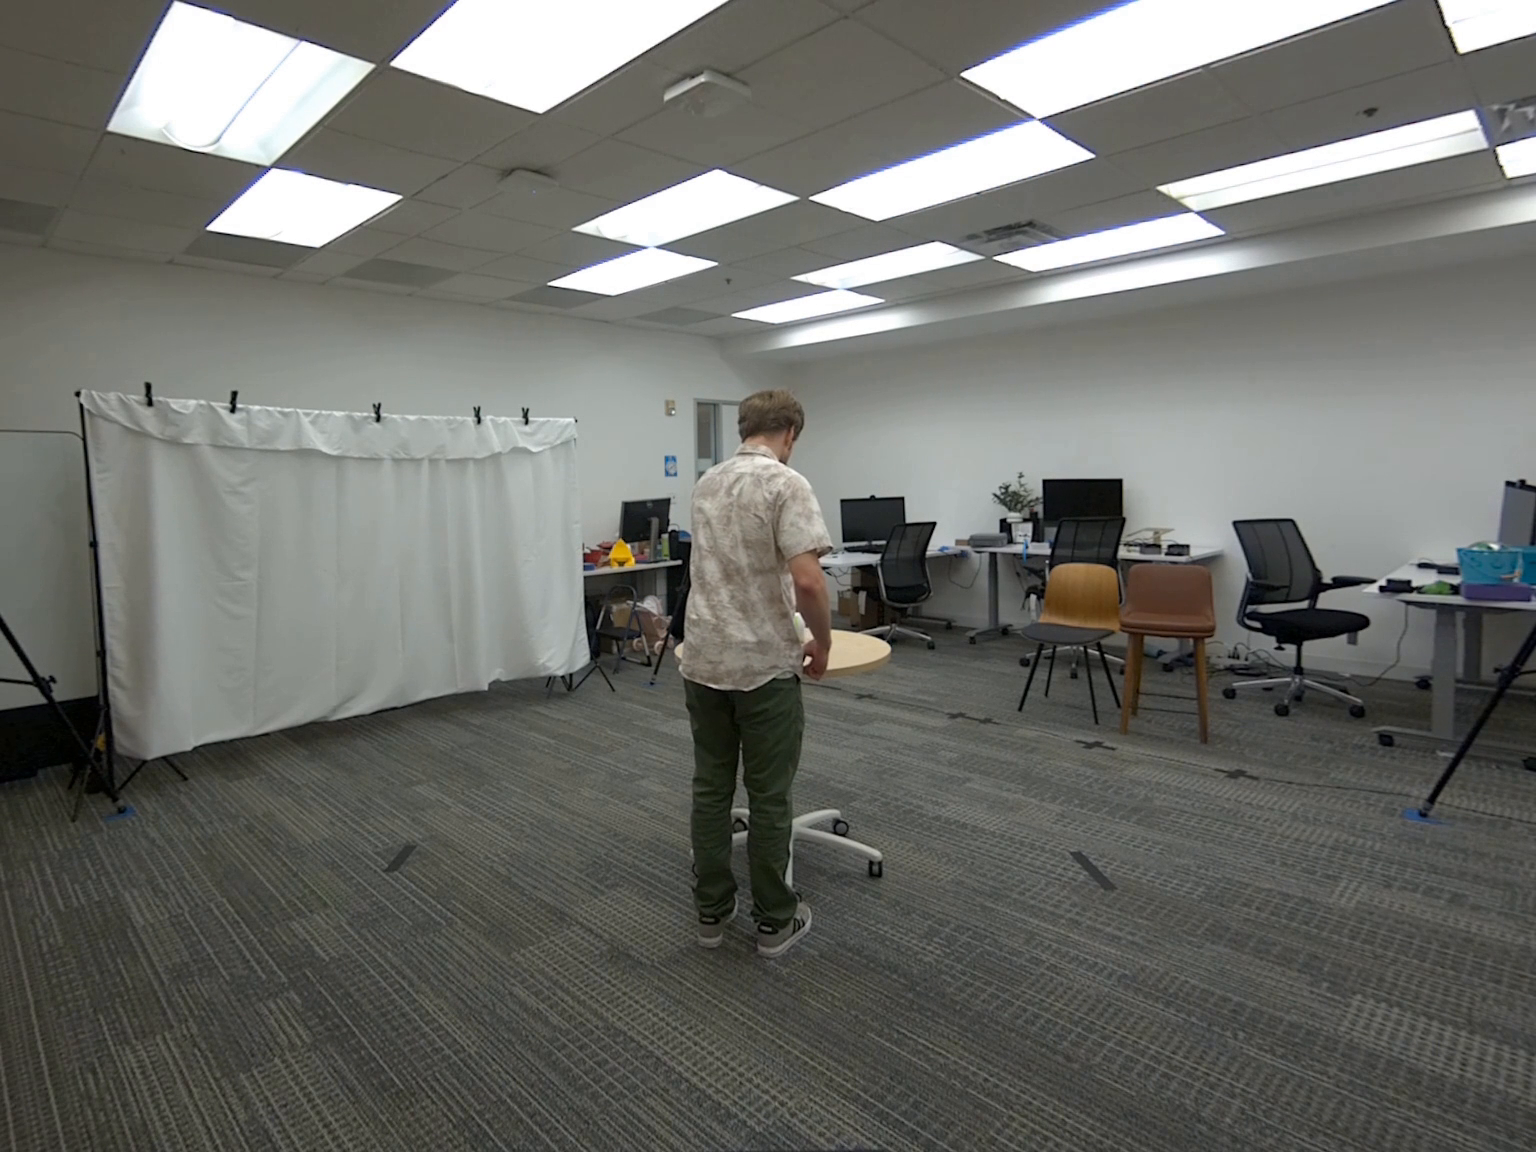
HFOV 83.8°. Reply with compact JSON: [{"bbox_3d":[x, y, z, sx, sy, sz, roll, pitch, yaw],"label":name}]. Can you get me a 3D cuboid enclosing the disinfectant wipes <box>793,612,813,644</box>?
[{"bbox_3d":[0.042,0.187,3.141,0.218,0.117,0.118,1,5,4],"label":"disinfectant wipes"}]
